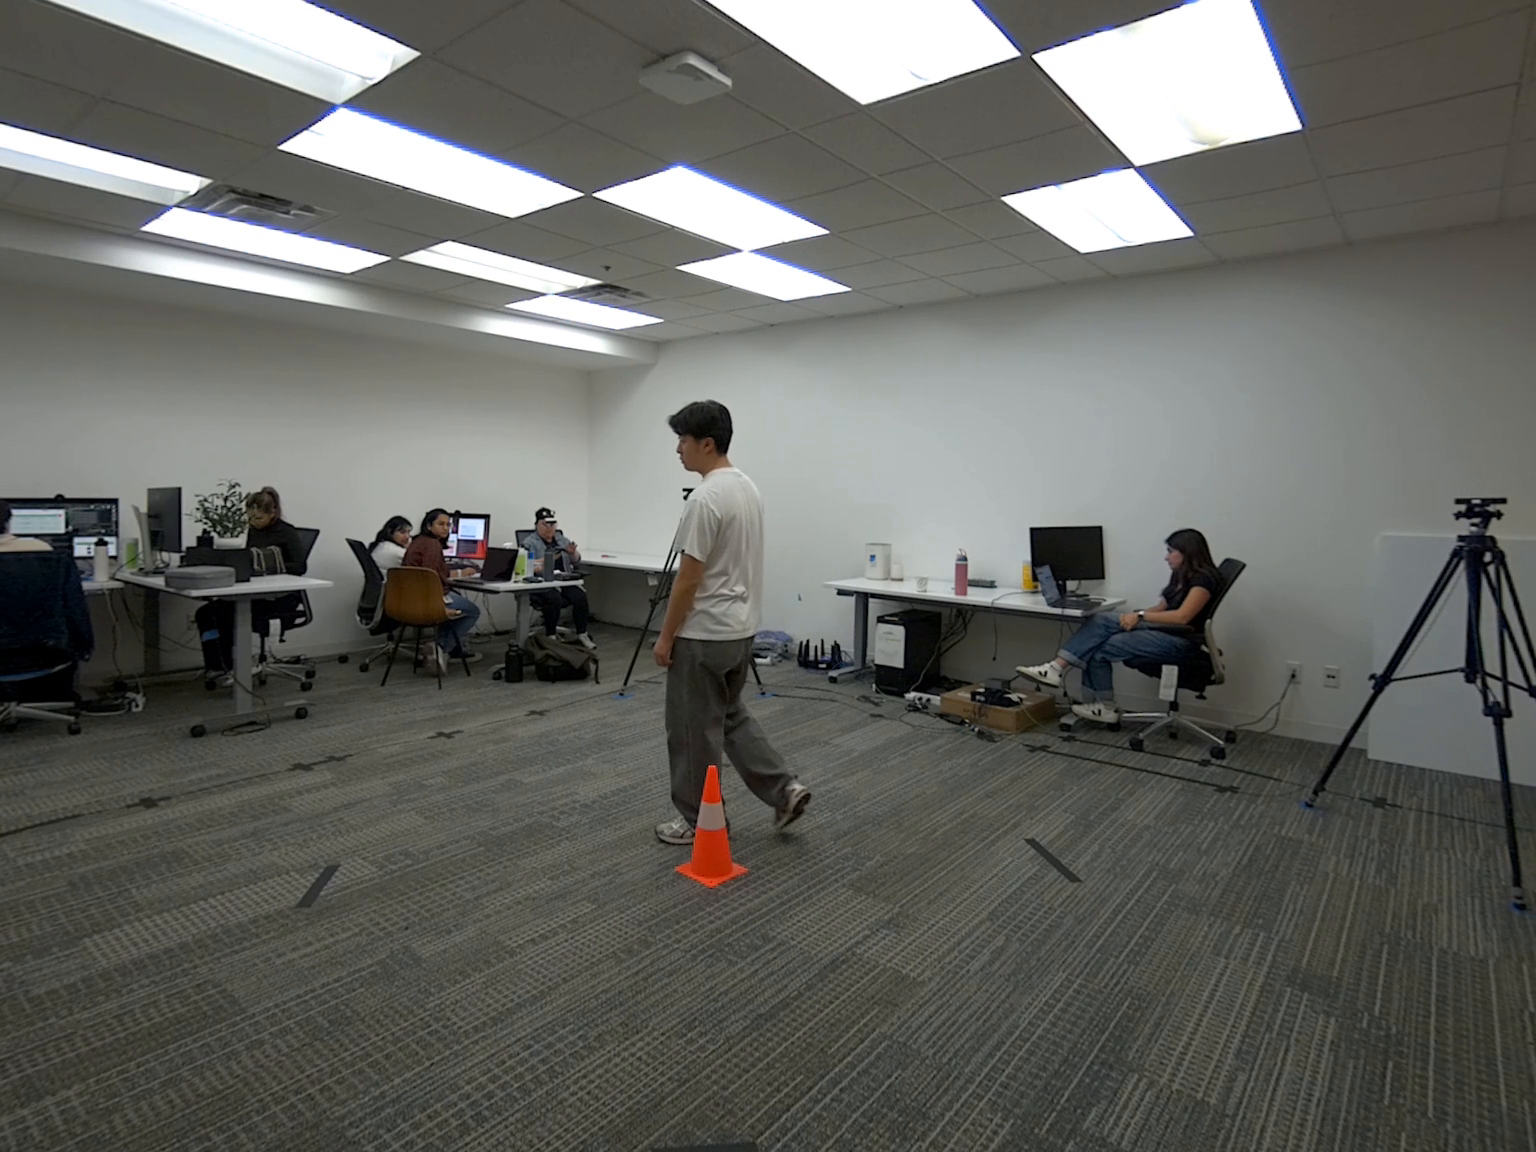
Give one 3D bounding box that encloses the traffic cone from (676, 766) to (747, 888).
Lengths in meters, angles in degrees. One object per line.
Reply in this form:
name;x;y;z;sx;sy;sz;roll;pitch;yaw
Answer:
traffic cone;-0.209;0.882;3.111;0.211;0.383;0.198;1;1;30
